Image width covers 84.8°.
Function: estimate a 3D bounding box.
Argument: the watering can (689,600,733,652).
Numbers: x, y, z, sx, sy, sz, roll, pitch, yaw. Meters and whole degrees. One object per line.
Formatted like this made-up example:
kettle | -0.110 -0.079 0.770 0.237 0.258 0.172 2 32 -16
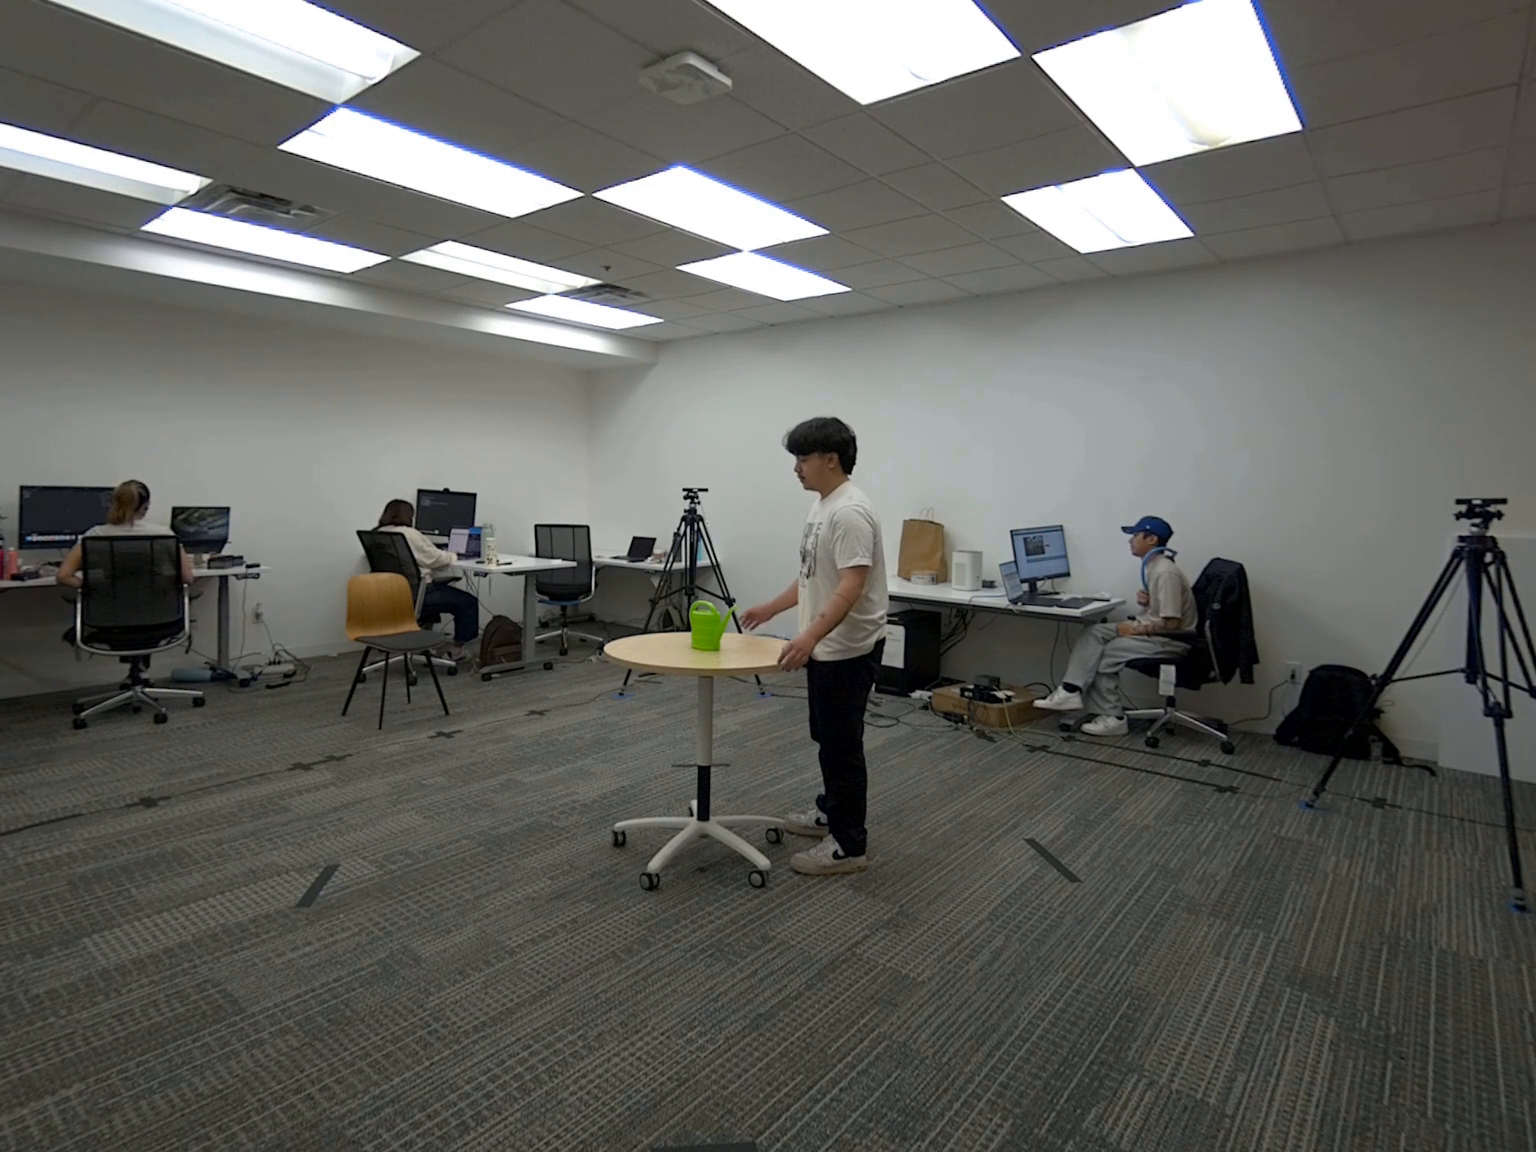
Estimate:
watering can | -0.224 0.182 3.167 0.095 0.176 0.286 -2 4 -29
